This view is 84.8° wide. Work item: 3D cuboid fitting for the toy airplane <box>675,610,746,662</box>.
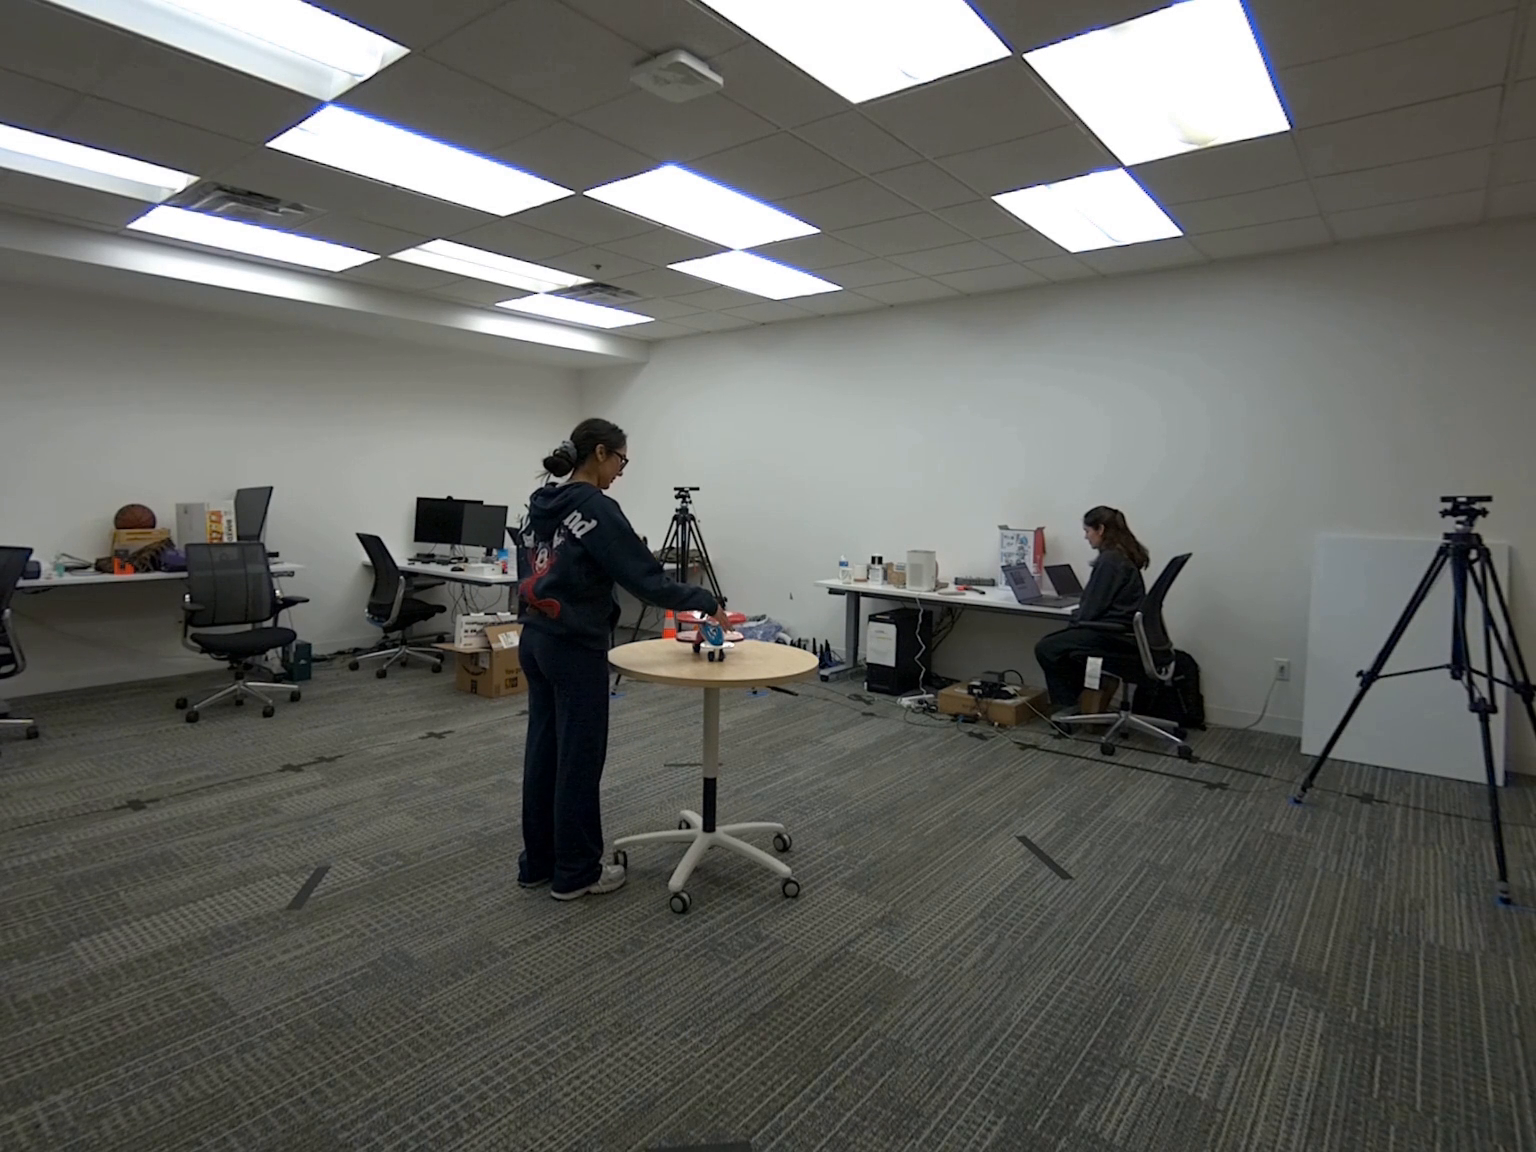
[{"bbox_3d":[-0.199,0.217,3.075,0.244,0.156,0.268,-2,7,-37],"label":"toy airplane"}]
